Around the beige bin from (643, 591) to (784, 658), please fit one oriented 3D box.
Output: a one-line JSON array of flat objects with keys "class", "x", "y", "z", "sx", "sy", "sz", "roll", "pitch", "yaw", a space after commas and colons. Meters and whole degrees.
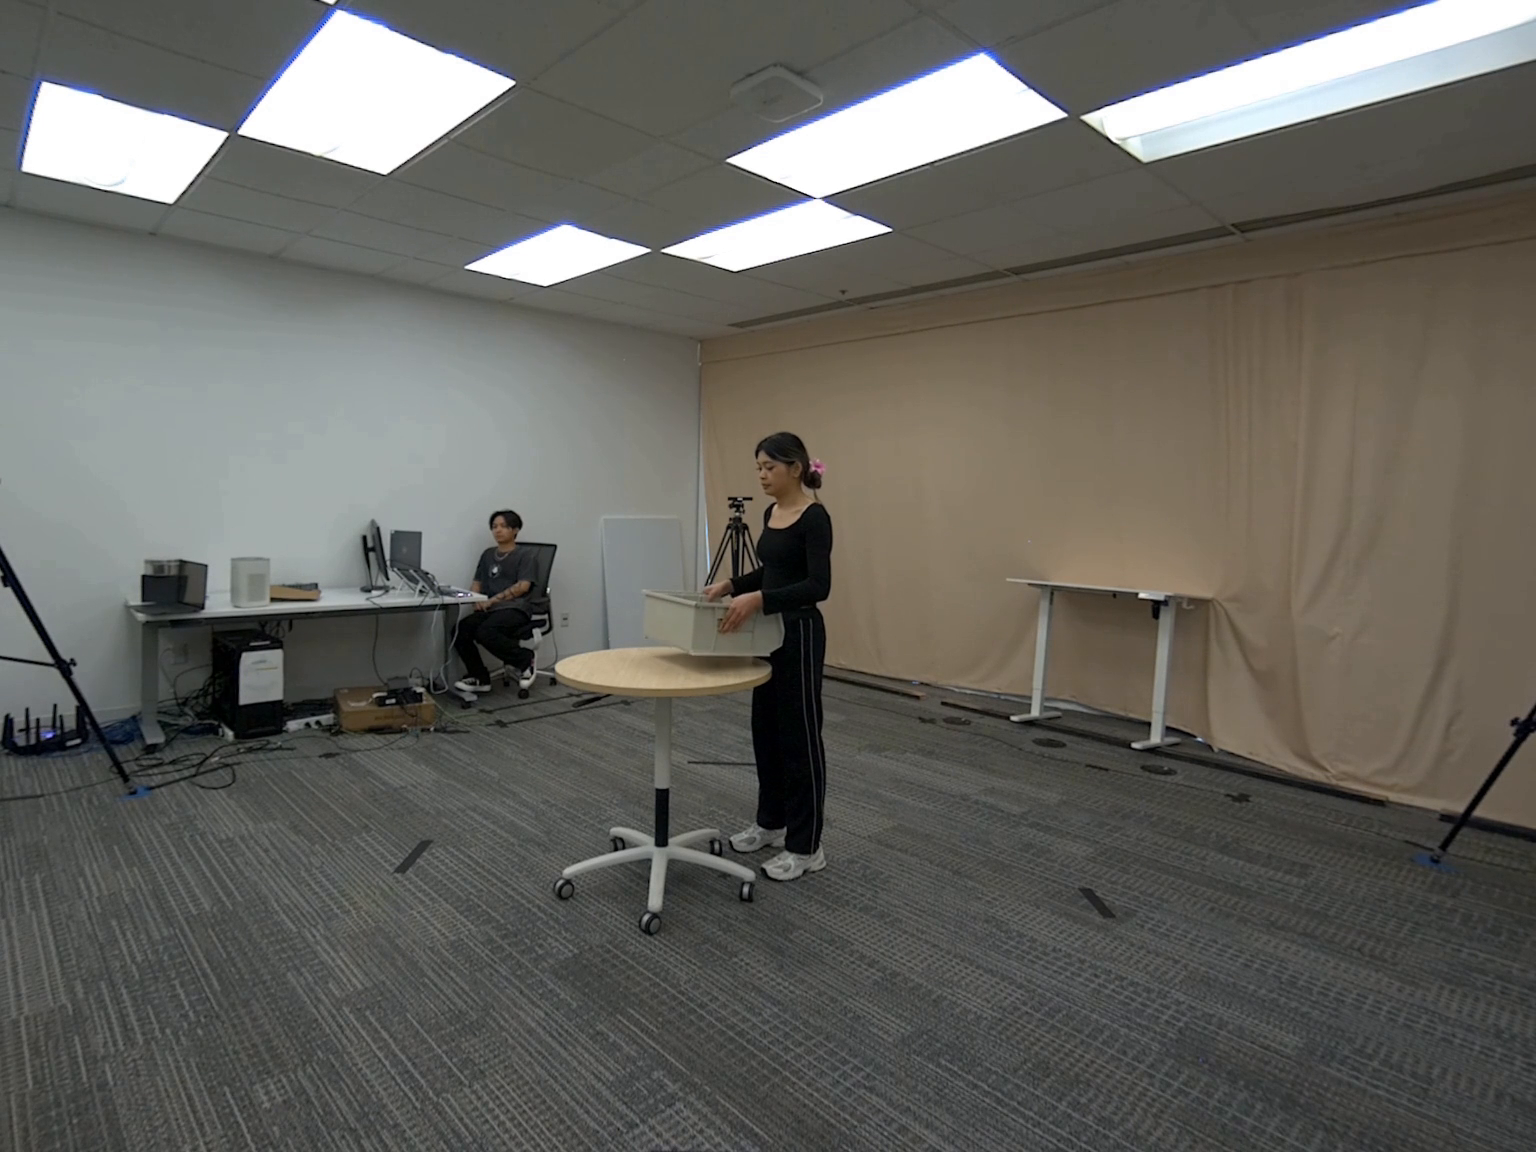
[{"class": "beige bin", "x": -0.212, "y": 0.167, "z": 3.080, "sx": 0.369, "sy": 0.188, "sz": 0.432, "roll": 0, "pitch": 5, "yaw": -32}]
